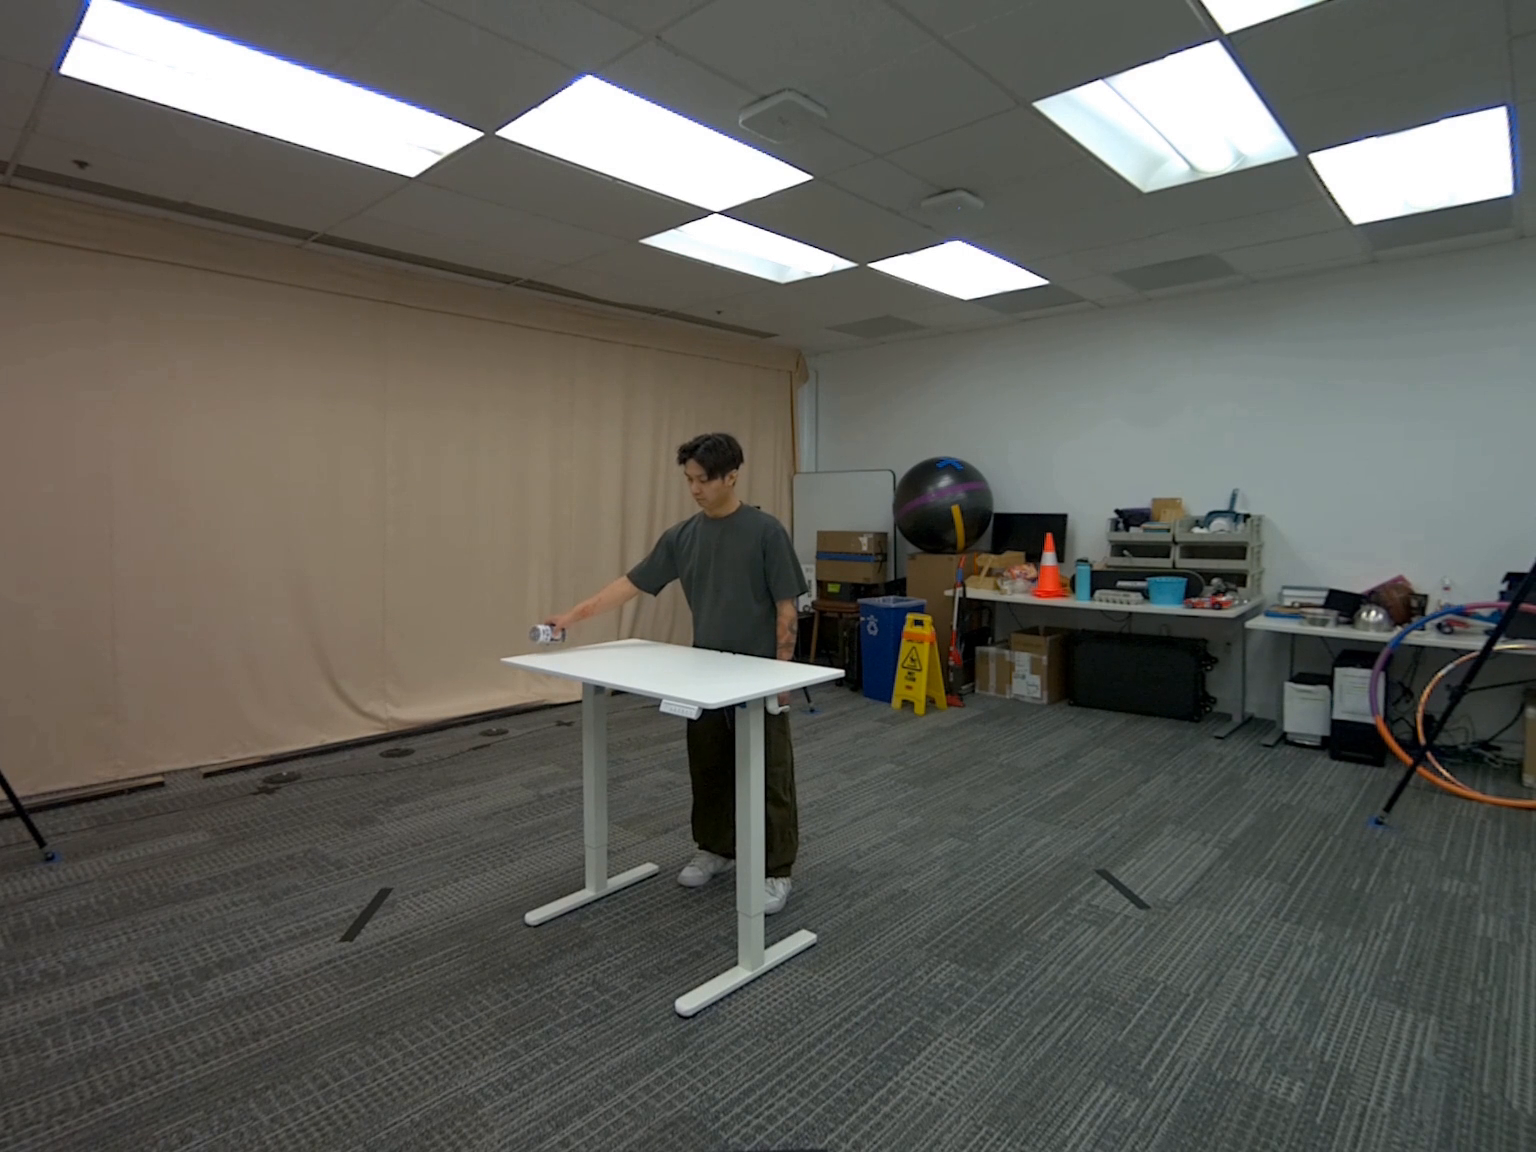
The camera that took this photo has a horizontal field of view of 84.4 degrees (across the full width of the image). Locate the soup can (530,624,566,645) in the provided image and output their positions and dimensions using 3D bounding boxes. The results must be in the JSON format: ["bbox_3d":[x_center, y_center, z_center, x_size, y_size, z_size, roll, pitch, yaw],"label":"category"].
[{"bbox_3d":[-0.775,0.205,2.987,0.117,0.067,0.069,8,-3,-44],"label":"soup can"}]
